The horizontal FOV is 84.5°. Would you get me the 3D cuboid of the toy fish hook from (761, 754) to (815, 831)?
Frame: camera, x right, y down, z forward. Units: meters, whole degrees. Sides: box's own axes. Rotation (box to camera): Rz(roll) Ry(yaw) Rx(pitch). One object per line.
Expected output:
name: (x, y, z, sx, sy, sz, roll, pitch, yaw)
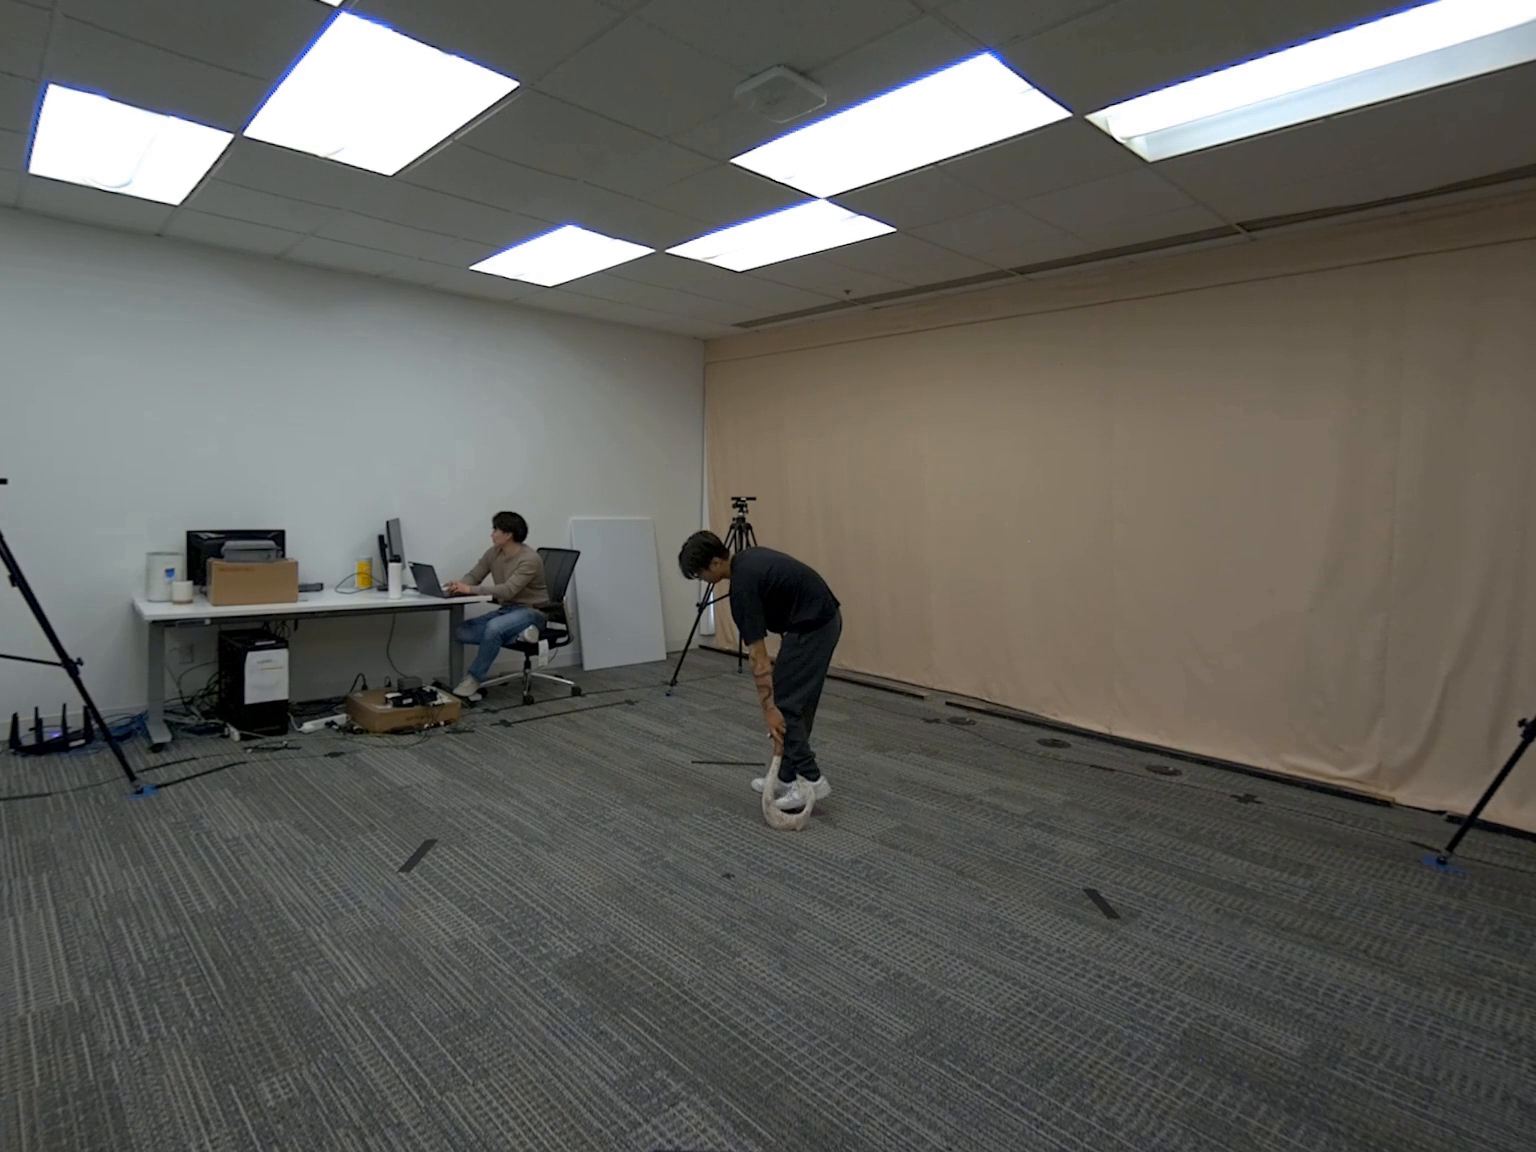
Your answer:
toy fish hook: (0.079, 0.840, 3.658, 0.225, 0.514, 0.047, -1, -22, 2)
